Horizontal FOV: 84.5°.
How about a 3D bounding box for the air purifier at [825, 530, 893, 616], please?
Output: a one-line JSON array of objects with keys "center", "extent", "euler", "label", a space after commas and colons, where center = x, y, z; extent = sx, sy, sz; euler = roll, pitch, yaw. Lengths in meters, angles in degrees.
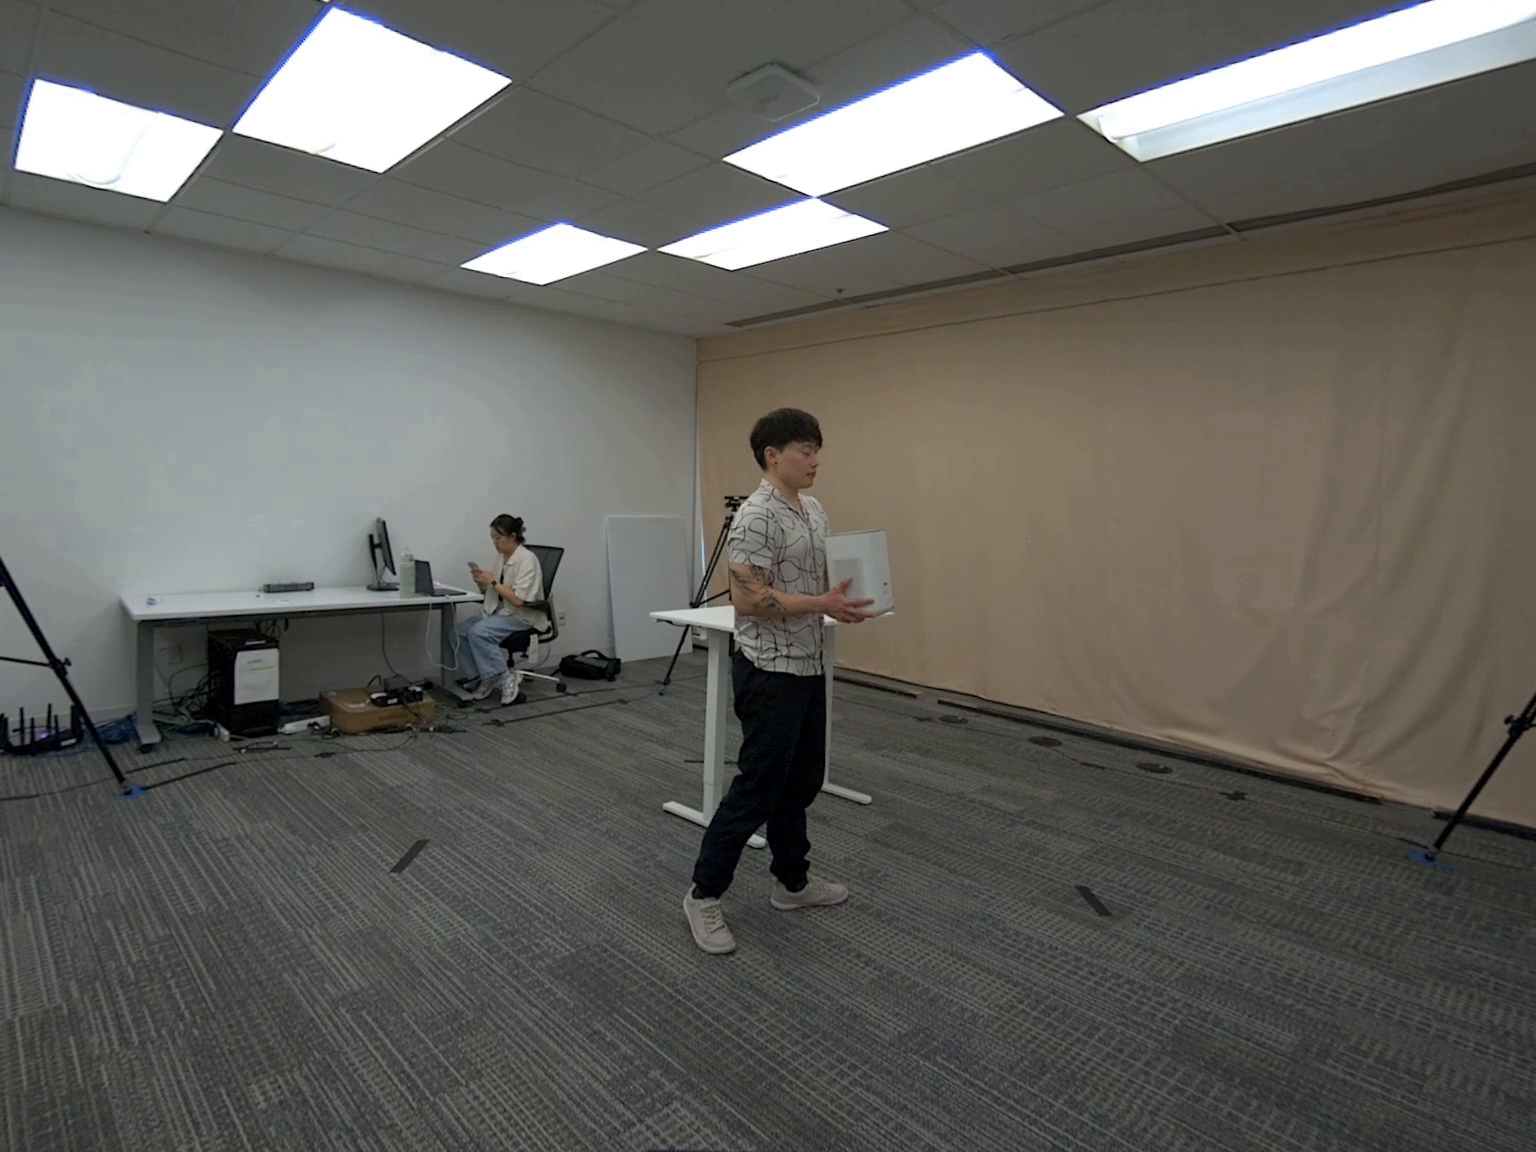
[{"center": [0.275, -0.005, 2.639], "extent": [0.175, 0.265, 0.168], "euler": [-5, 2, 31], "label": "air purifier"}]
